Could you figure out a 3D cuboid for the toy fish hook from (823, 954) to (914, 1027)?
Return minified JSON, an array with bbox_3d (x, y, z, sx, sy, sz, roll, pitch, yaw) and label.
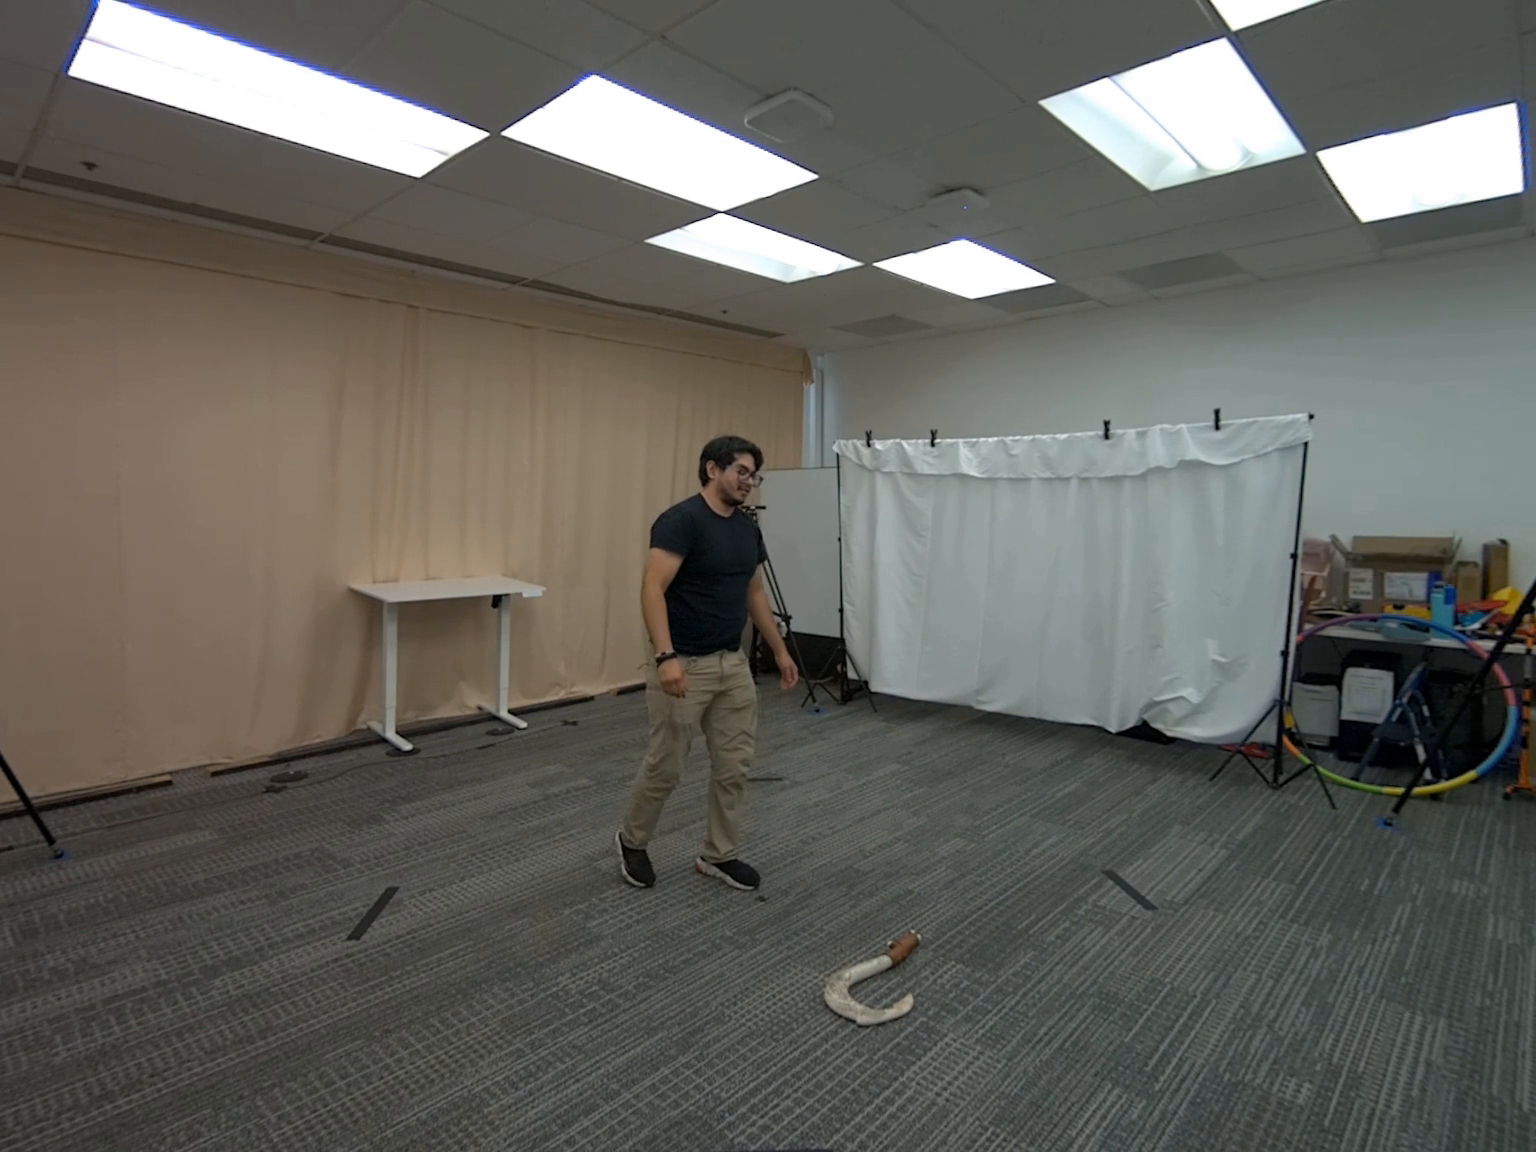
[{"bbox_3d":[0.369,1.173,2.458,0.232,0.048,0.492,13,13,38],"label":"toy fish hook"}]
